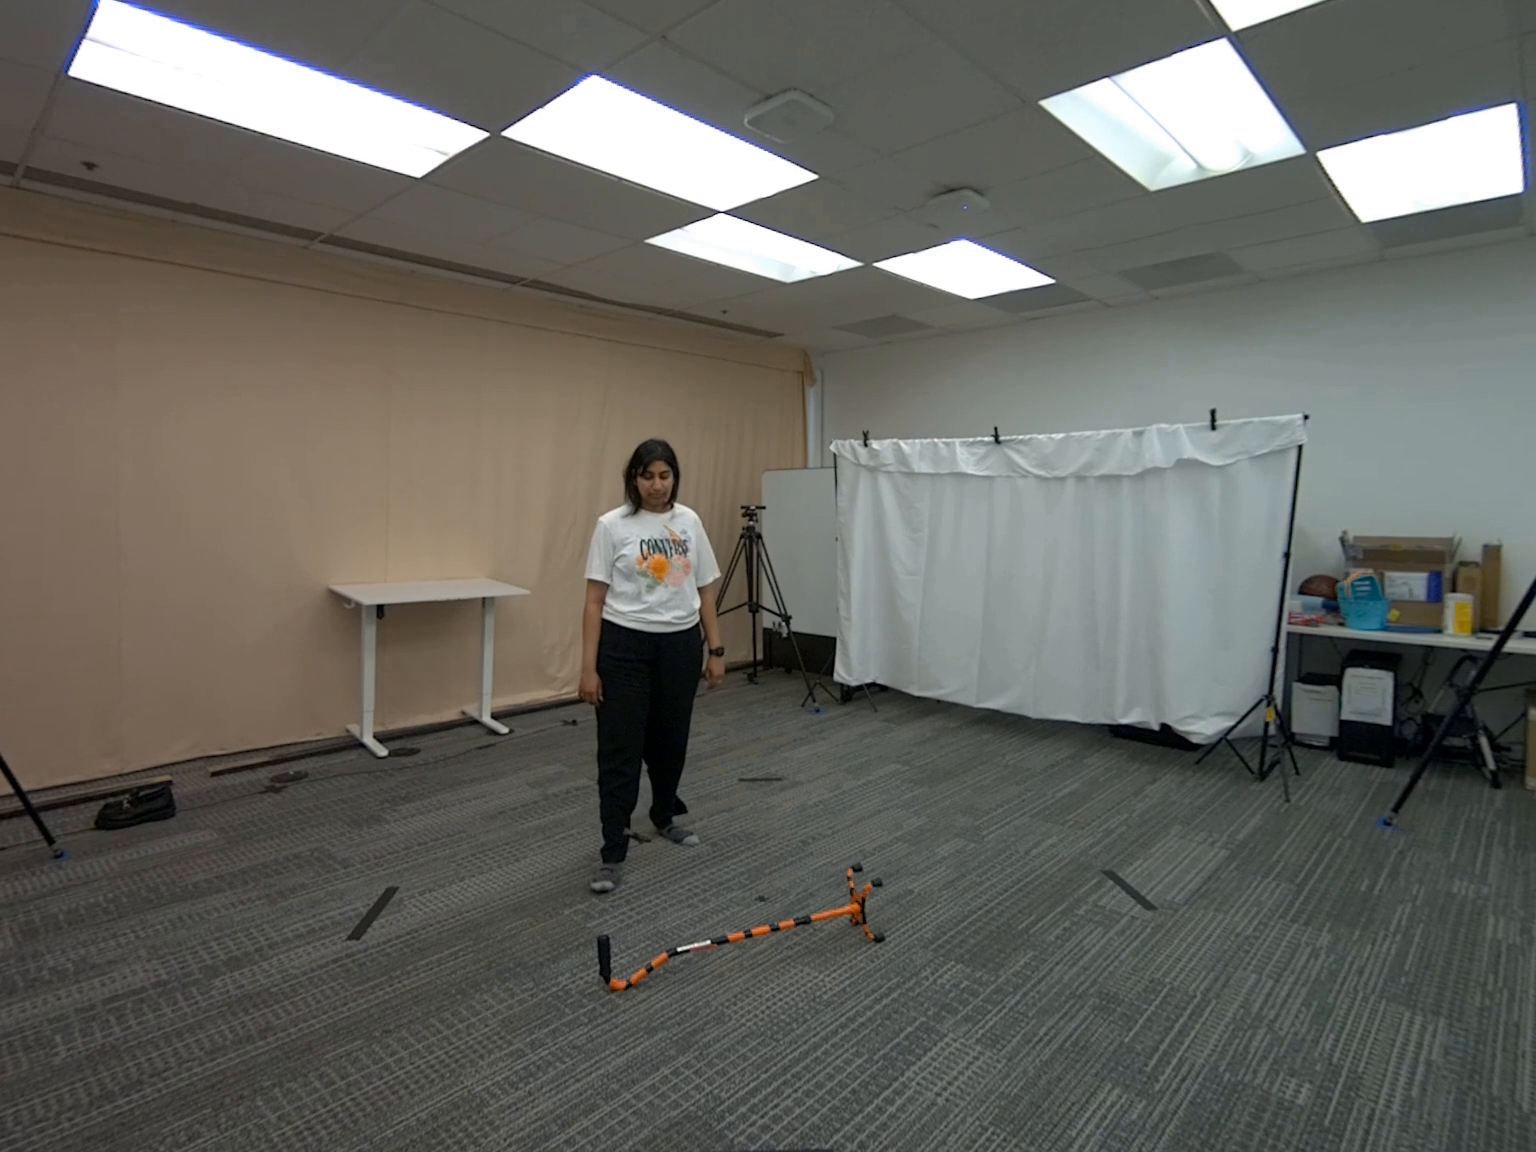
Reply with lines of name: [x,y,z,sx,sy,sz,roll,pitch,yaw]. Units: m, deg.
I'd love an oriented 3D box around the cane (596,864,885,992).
cane: [-0.068,1.086,2.587,0.889,0.205,0.155,-5,7,-21]
